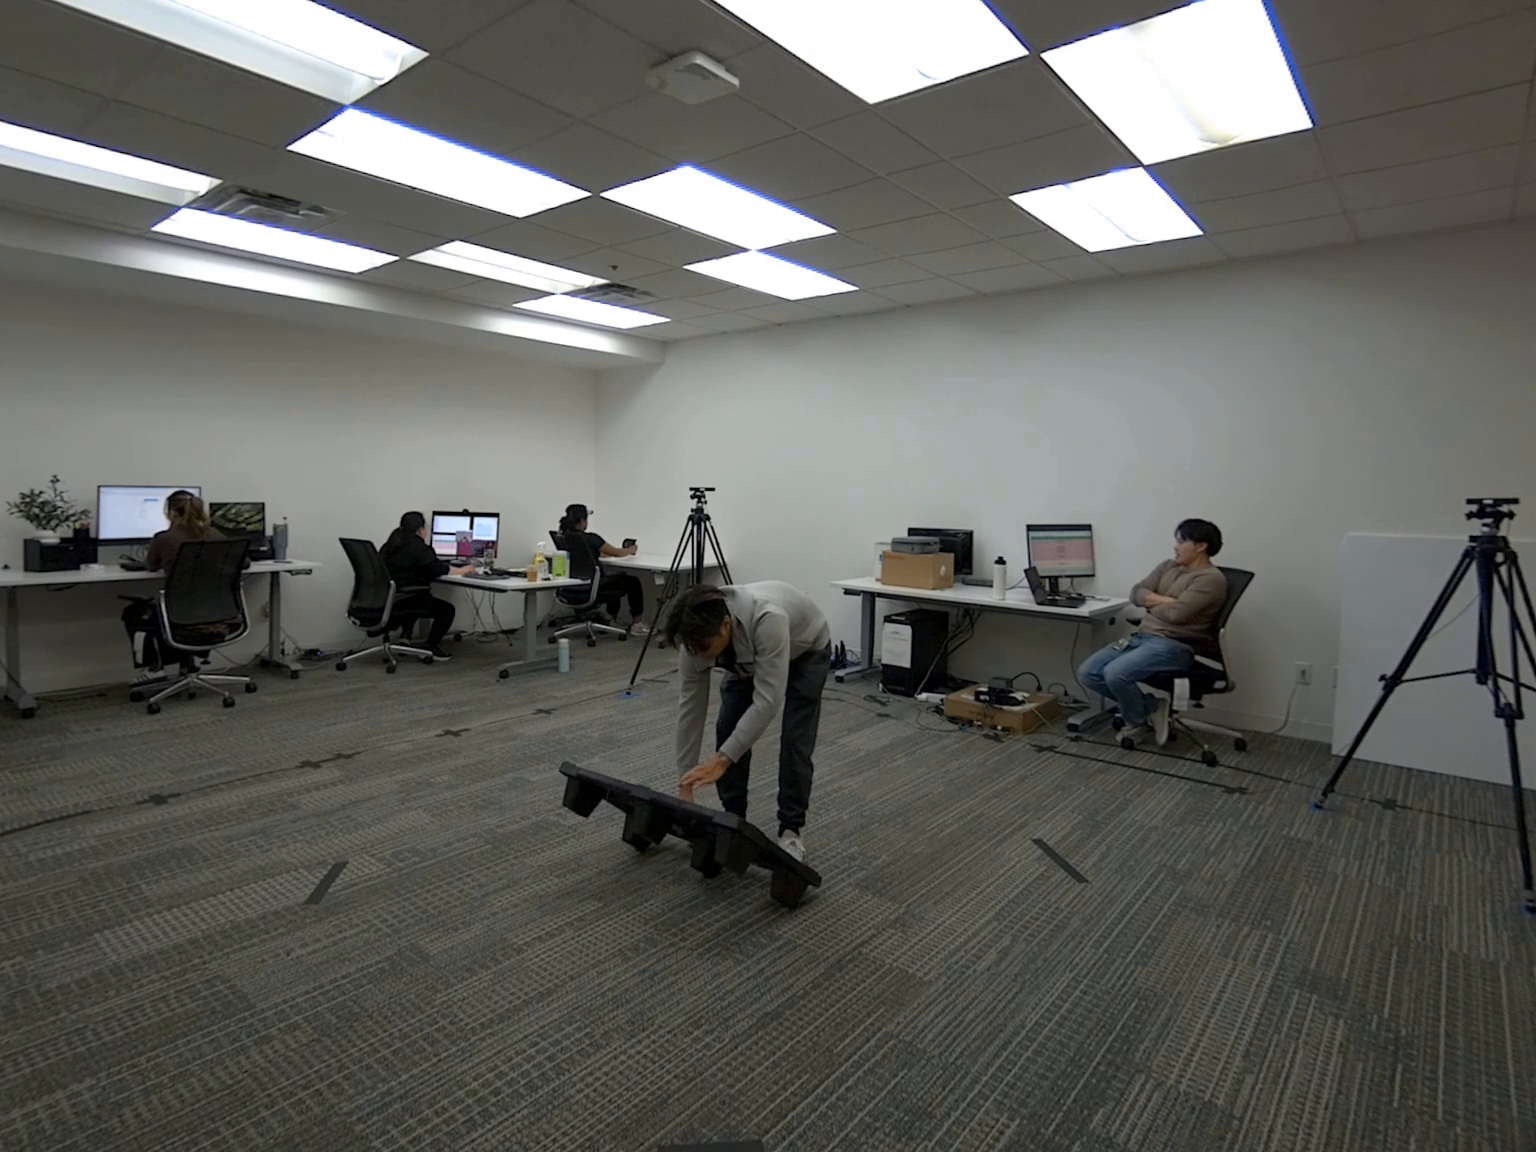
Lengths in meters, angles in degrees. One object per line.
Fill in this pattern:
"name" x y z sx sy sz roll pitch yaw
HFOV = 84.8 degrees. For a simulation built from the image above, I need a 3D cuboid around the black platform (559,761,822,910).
"black platform" -0.308 0.893 2.920 0.832 0.145 0.580 5 -31 37
